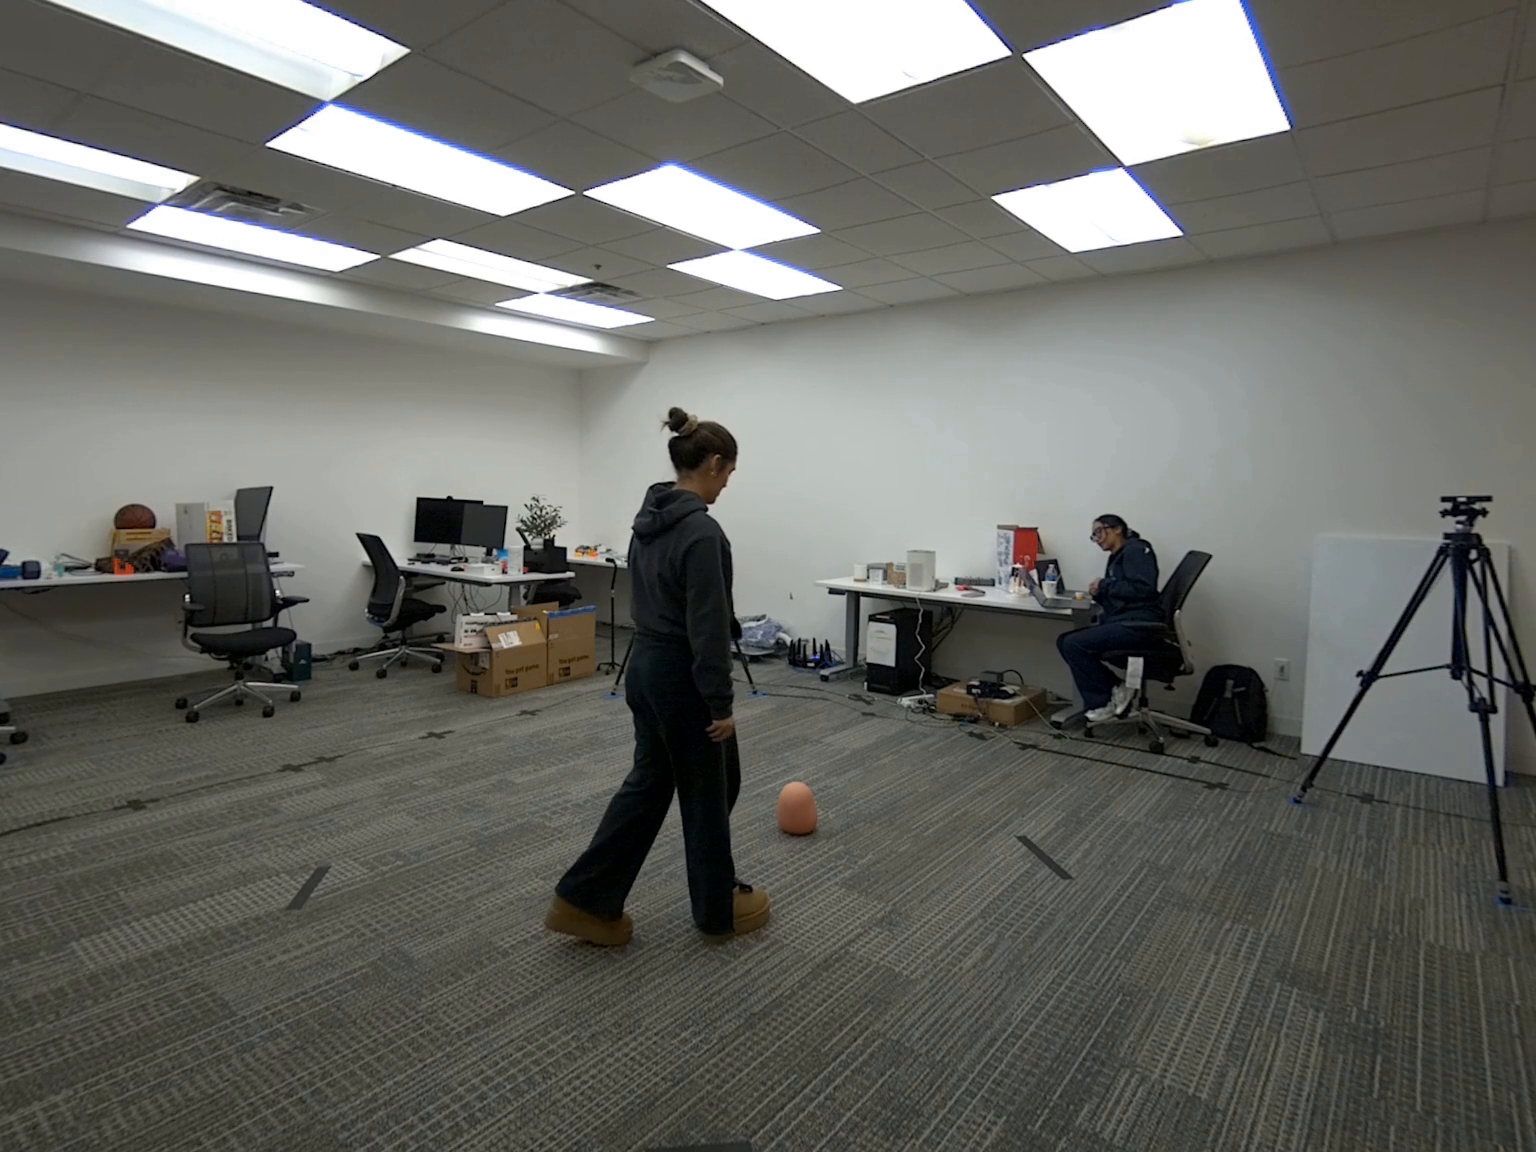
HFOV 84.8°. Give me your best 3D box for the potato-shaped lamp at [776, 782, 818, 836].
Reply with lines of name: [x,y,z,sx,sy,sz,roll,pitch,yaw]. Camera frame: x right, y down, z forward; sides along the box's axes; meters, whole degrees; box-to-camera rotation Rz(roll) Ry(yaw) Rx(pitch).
potato-shaped lamp: [0.121,0.937,3.473,0.170,0.197,0.166,6,5,40]
